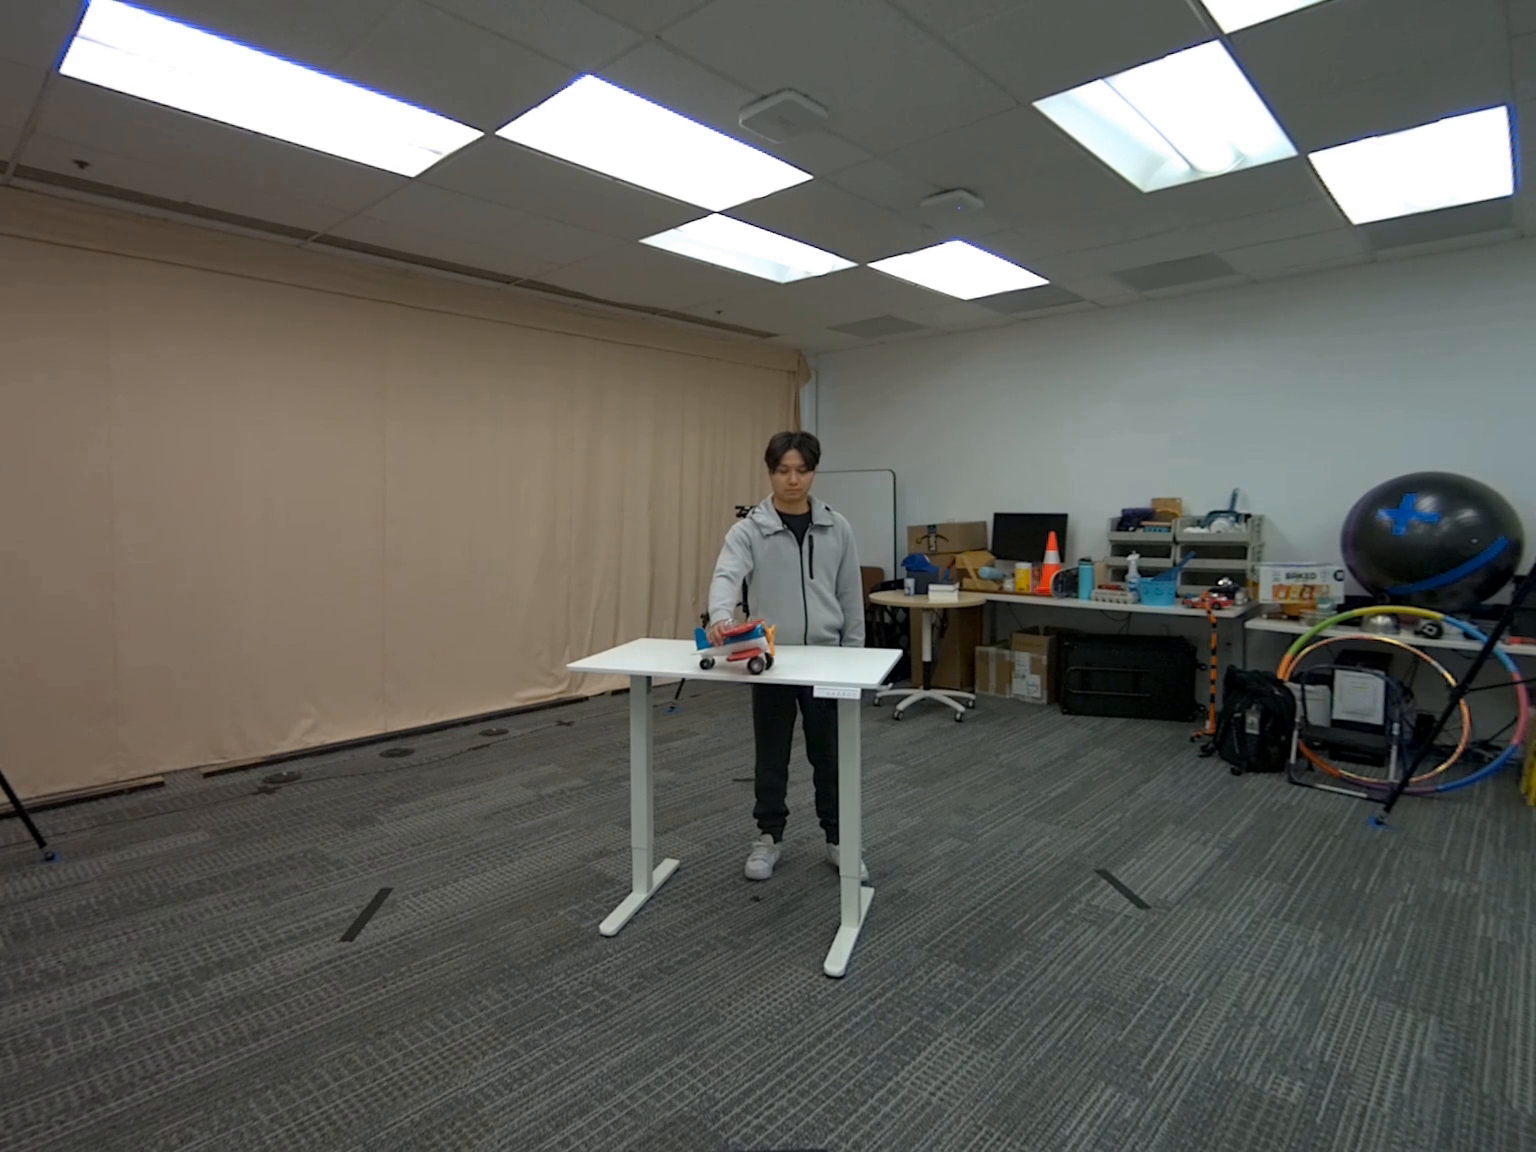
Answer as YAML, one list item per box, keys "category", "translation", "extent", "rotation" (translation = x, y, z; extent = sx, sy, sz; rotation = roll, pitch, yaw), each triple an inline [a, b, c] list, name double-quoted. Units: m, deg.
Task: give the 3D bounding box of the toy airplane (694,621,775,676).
- category: "toy airplane"
  translation: [-0.105, 0.219, 2.589]
  extent: [0.257, 0.156, 0.254]
  rotation: [-1, 3, -9]
